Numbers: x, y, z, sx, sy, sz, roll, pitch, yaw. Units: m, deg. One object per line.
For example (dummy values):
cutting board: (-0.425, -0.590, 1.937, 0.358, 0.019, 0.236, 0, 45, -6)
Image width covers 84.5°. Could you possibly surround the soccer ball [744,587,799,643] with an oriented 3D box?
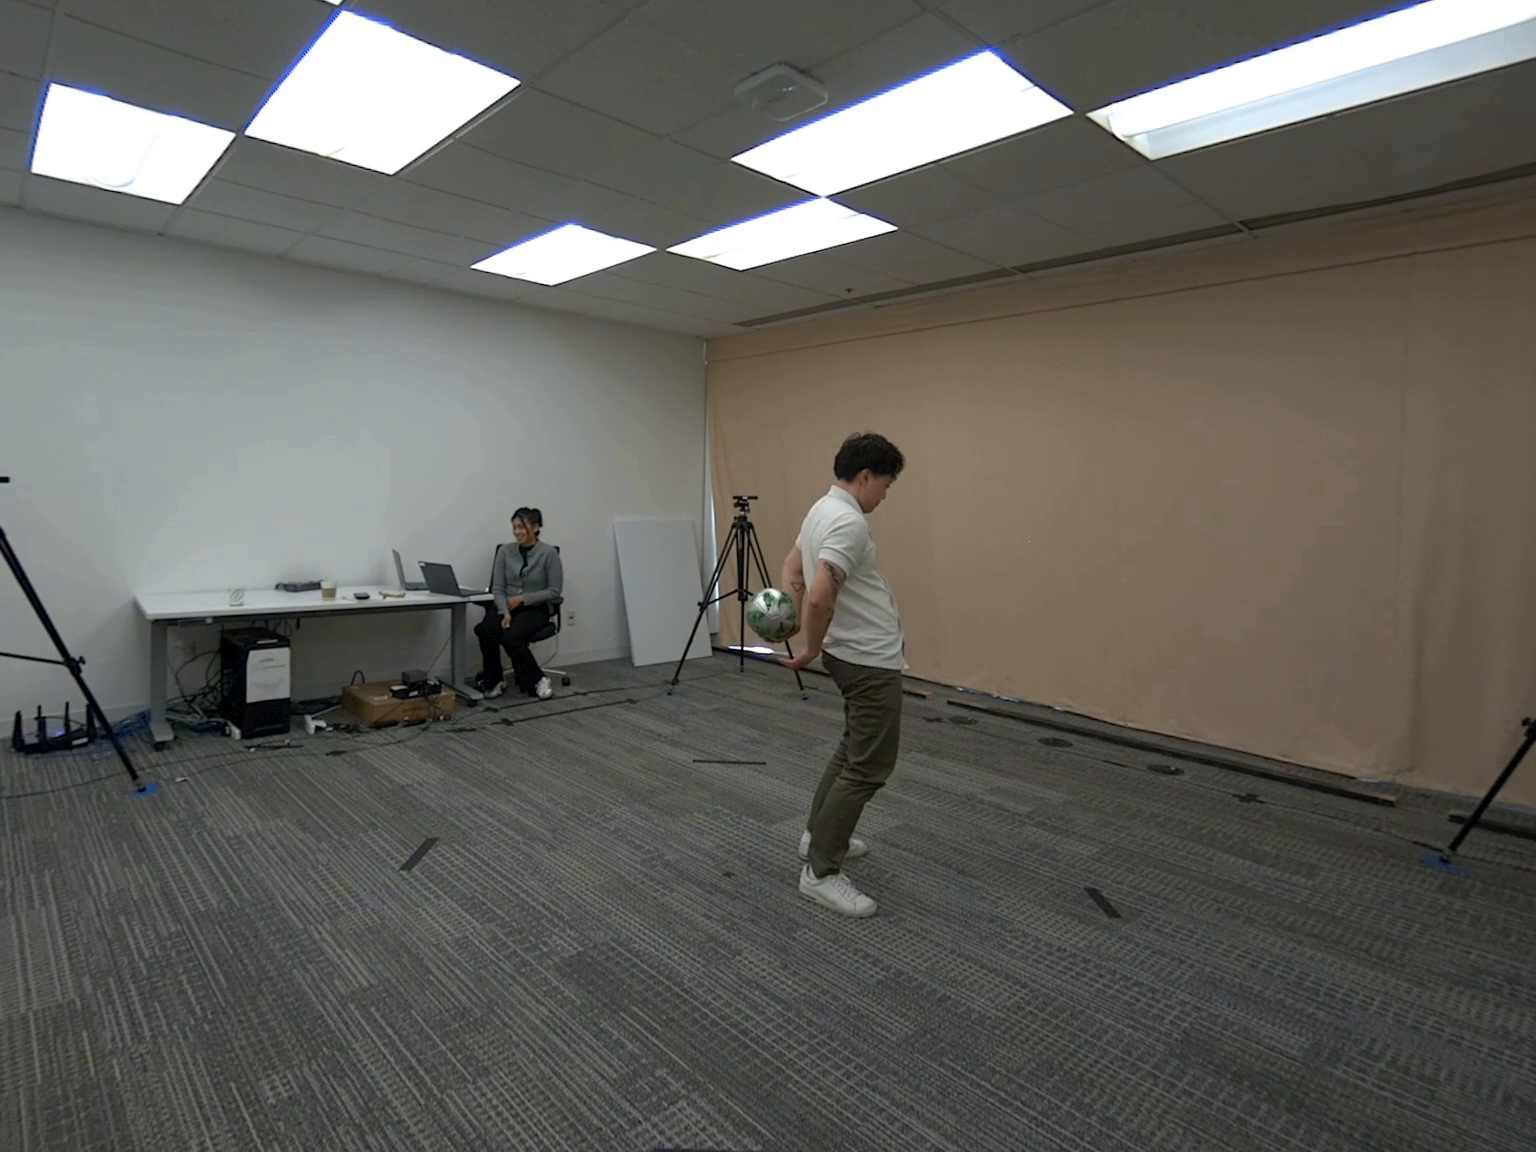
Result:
soccer ball: (0.011, 0.137, 3.109, 0.187, 0.187, 0.188, 1, 4, -1)
